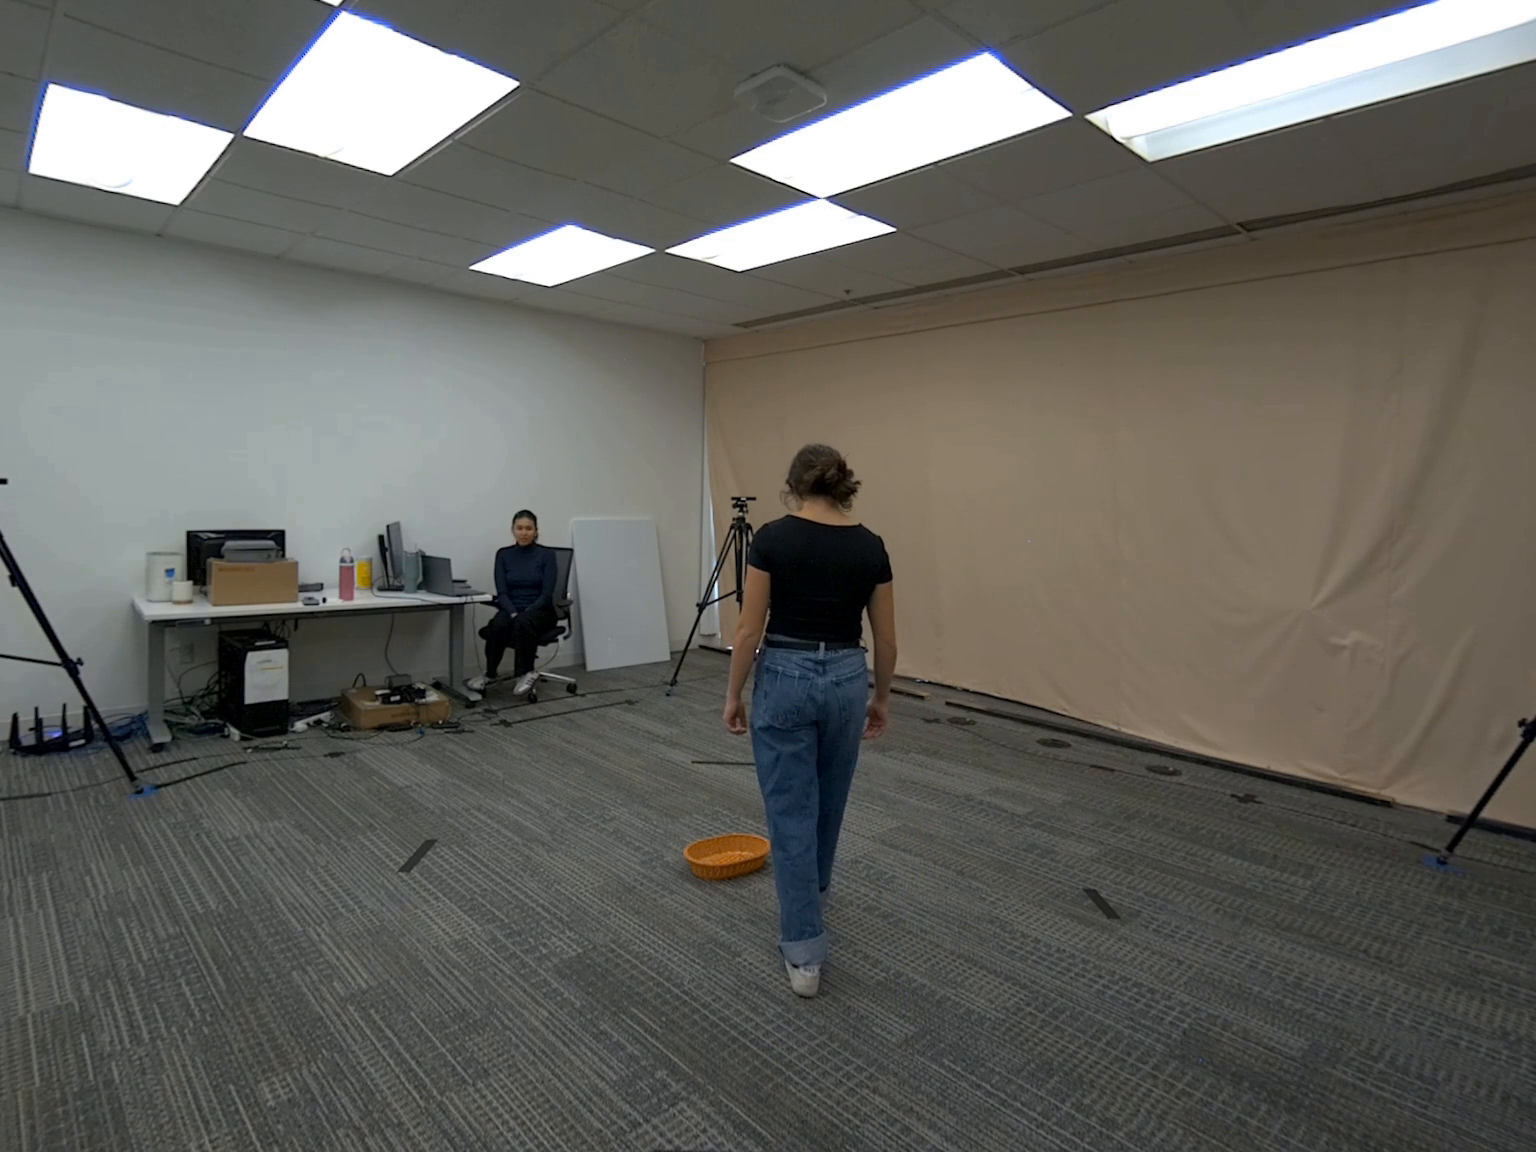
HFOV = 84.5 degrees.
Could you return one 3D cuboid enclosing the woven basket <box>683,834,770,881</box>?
[{"bbox_3d":[-0.159,1.061,3.180,0.343,0.073,0.258,-3,5,-31],"label":"woven basket"}]
